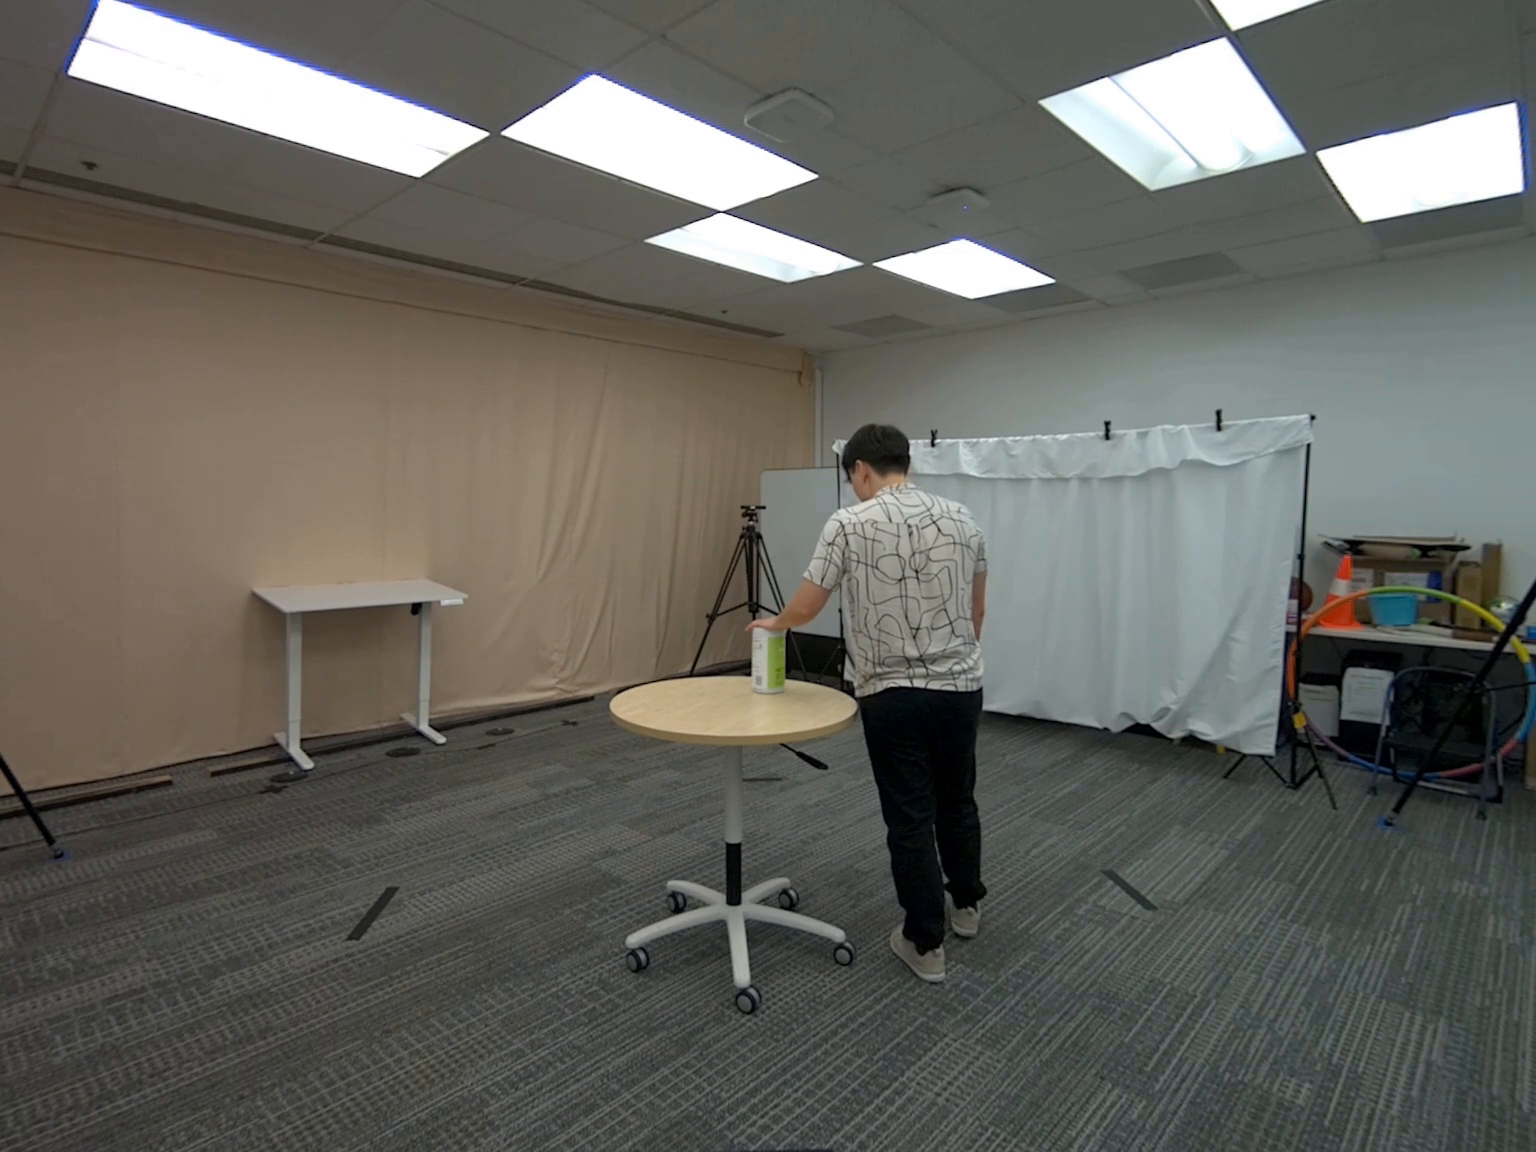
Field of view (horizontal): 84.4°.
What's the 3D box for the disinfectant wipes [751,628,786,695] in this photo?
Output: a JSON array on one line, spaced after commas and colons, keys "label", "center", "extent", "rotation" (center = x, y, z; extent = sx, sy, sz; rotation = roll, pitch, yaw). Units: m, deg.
[{"label": "disinfectant wipes", "center": [0.005, 0.277, 2.771], "extent": [0.118, 0.217, 0.118], "rotation": [1, 3, -2]}]
